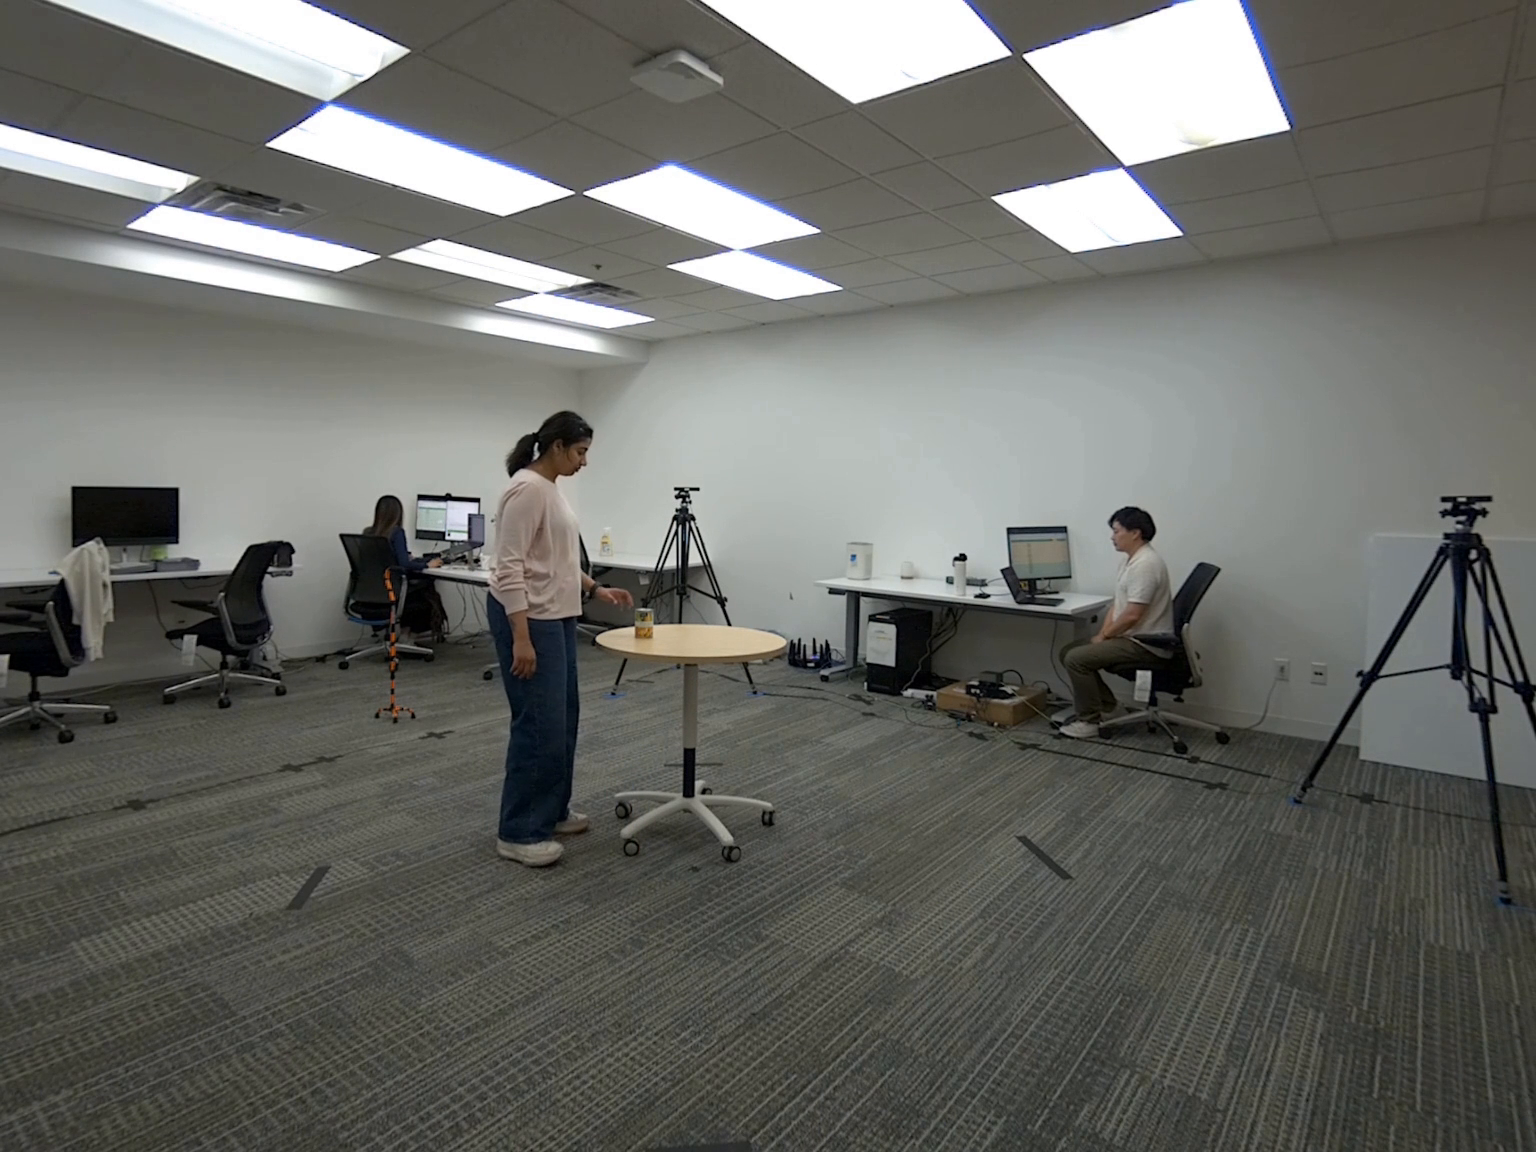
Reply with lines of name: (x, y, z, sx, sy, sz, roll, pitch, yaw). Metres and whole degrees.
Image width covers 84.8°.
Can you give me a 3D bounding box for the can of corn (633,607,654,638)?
can of corn: (-0.516, 0.191, 3.435, 0.074, 0.111, 0.074, 0, 2, -2)
